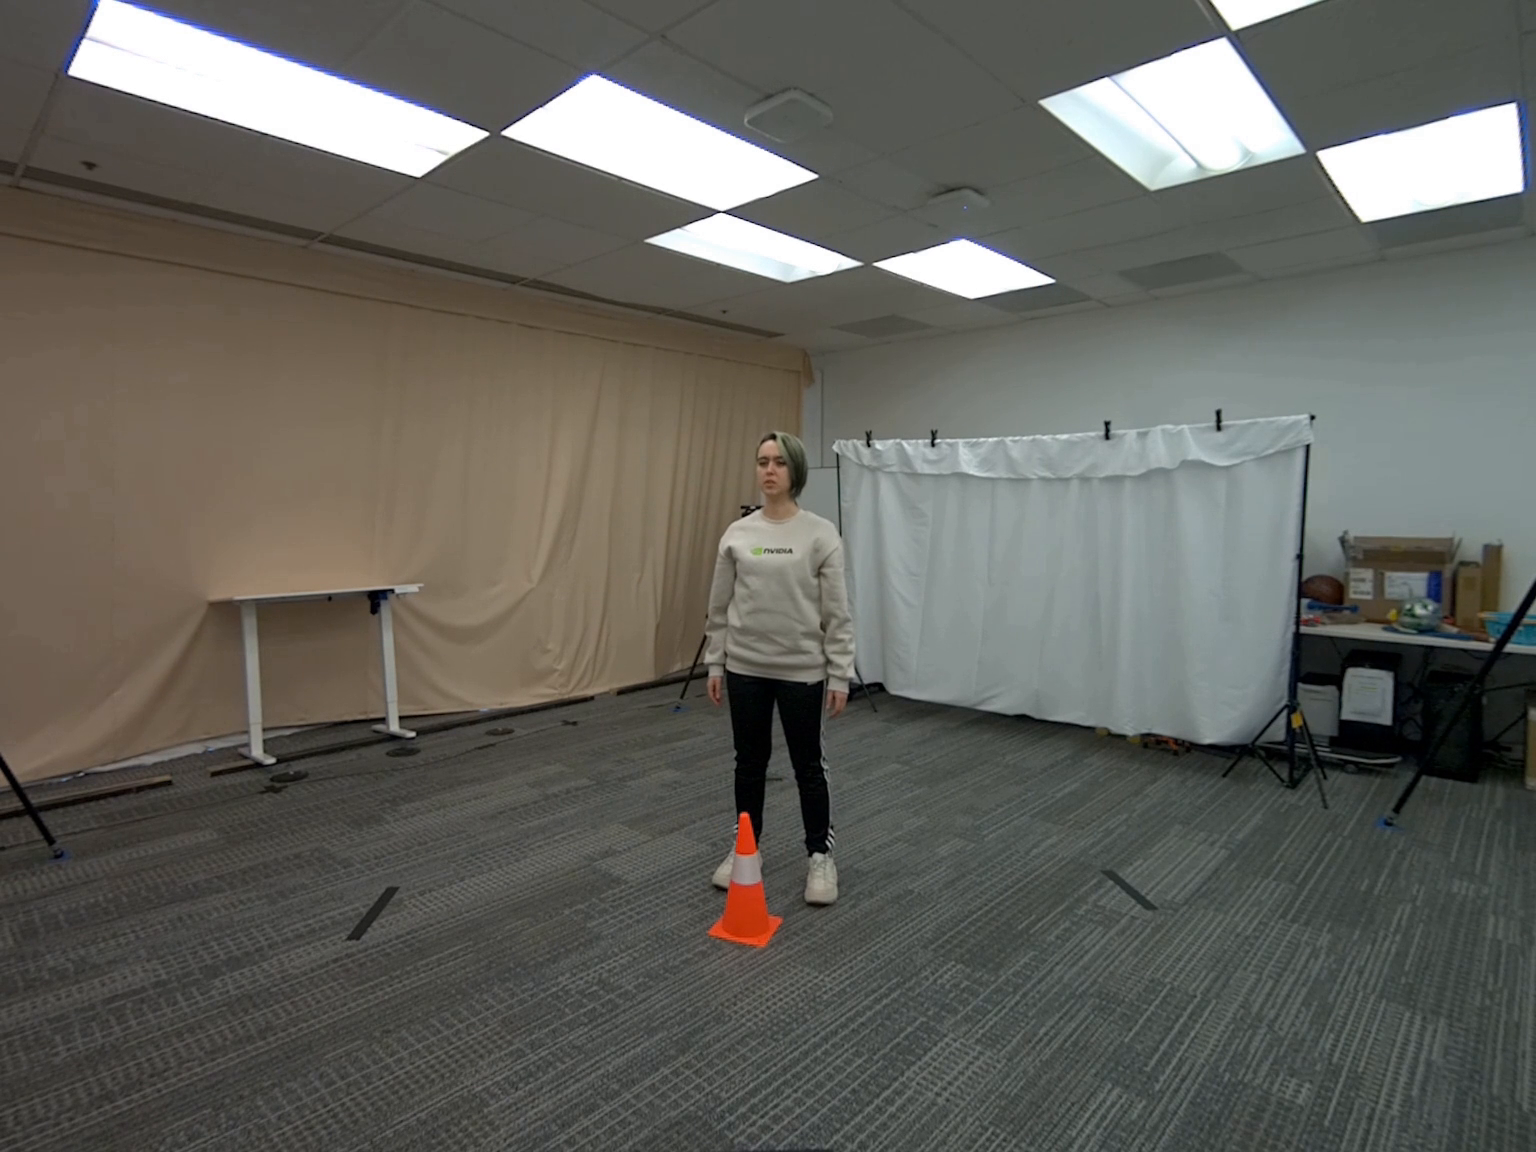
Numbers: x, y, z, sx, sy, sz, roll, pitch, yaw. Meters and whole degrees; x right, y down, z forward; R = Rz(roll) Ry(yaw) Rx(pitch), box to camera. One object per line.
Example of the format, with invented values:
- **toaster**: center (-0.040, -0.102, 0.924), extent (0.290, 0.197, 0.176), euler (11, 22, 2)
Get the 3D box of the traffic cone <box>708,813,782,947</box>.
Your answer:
- **traffic cone**: center (-0.075, 0.973, 2.778), extent (0.210, 0.383, 0.199), euler (0, 2, 22)
